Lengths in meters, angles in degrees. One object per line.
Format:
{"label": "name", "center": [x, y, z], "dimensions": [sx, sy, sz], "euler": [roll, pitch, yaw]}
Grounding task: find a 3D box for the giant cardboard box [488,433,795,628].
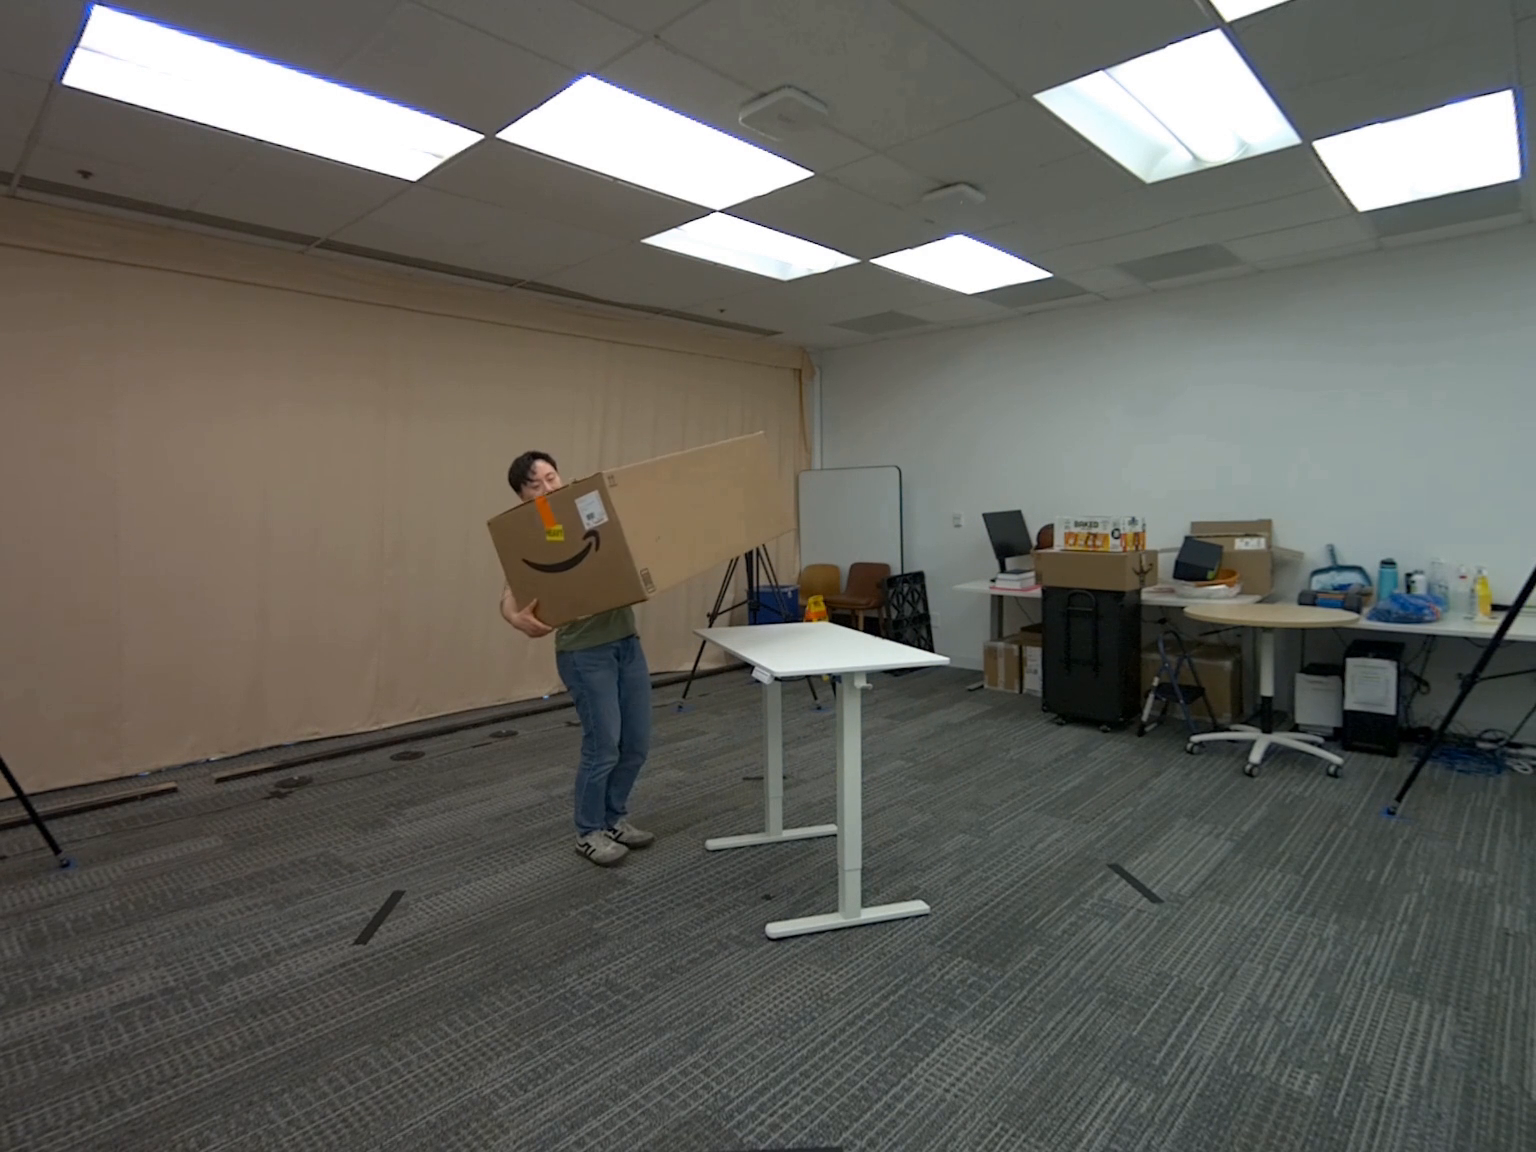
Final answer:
{"label": "giant cardboard box", "center": [-0.422, -0.196, 3.167], "dimensions": [0.591, 0.425, 1.006], "euler": [-17, 6, 33]}
